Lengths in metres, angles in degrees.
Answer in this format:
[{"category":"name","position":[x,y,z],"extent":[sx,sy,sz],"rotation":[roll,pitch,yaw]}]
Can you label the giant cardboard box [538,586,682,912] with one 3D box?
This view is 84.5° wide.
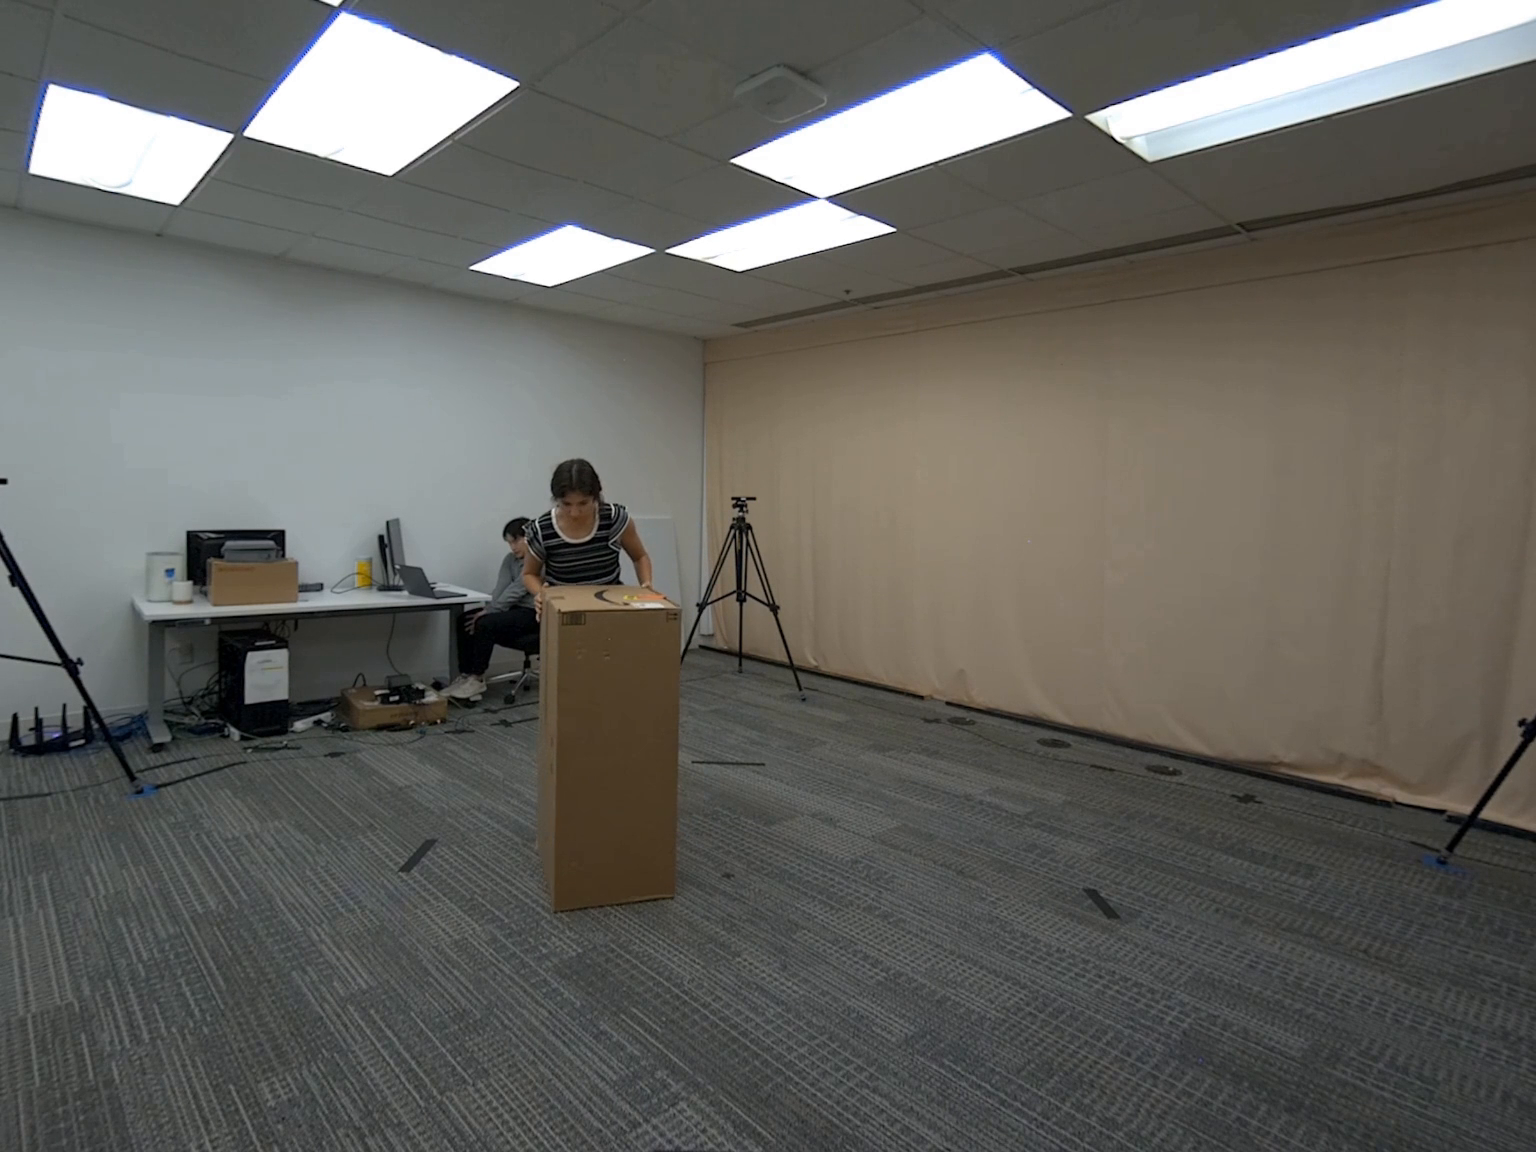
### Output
[{"category":"giant cardboard box","position":[-0.601,0.589,3.084],"extent":[0.420,1.023,0.588],"rotation":[0,5,-20]}]
